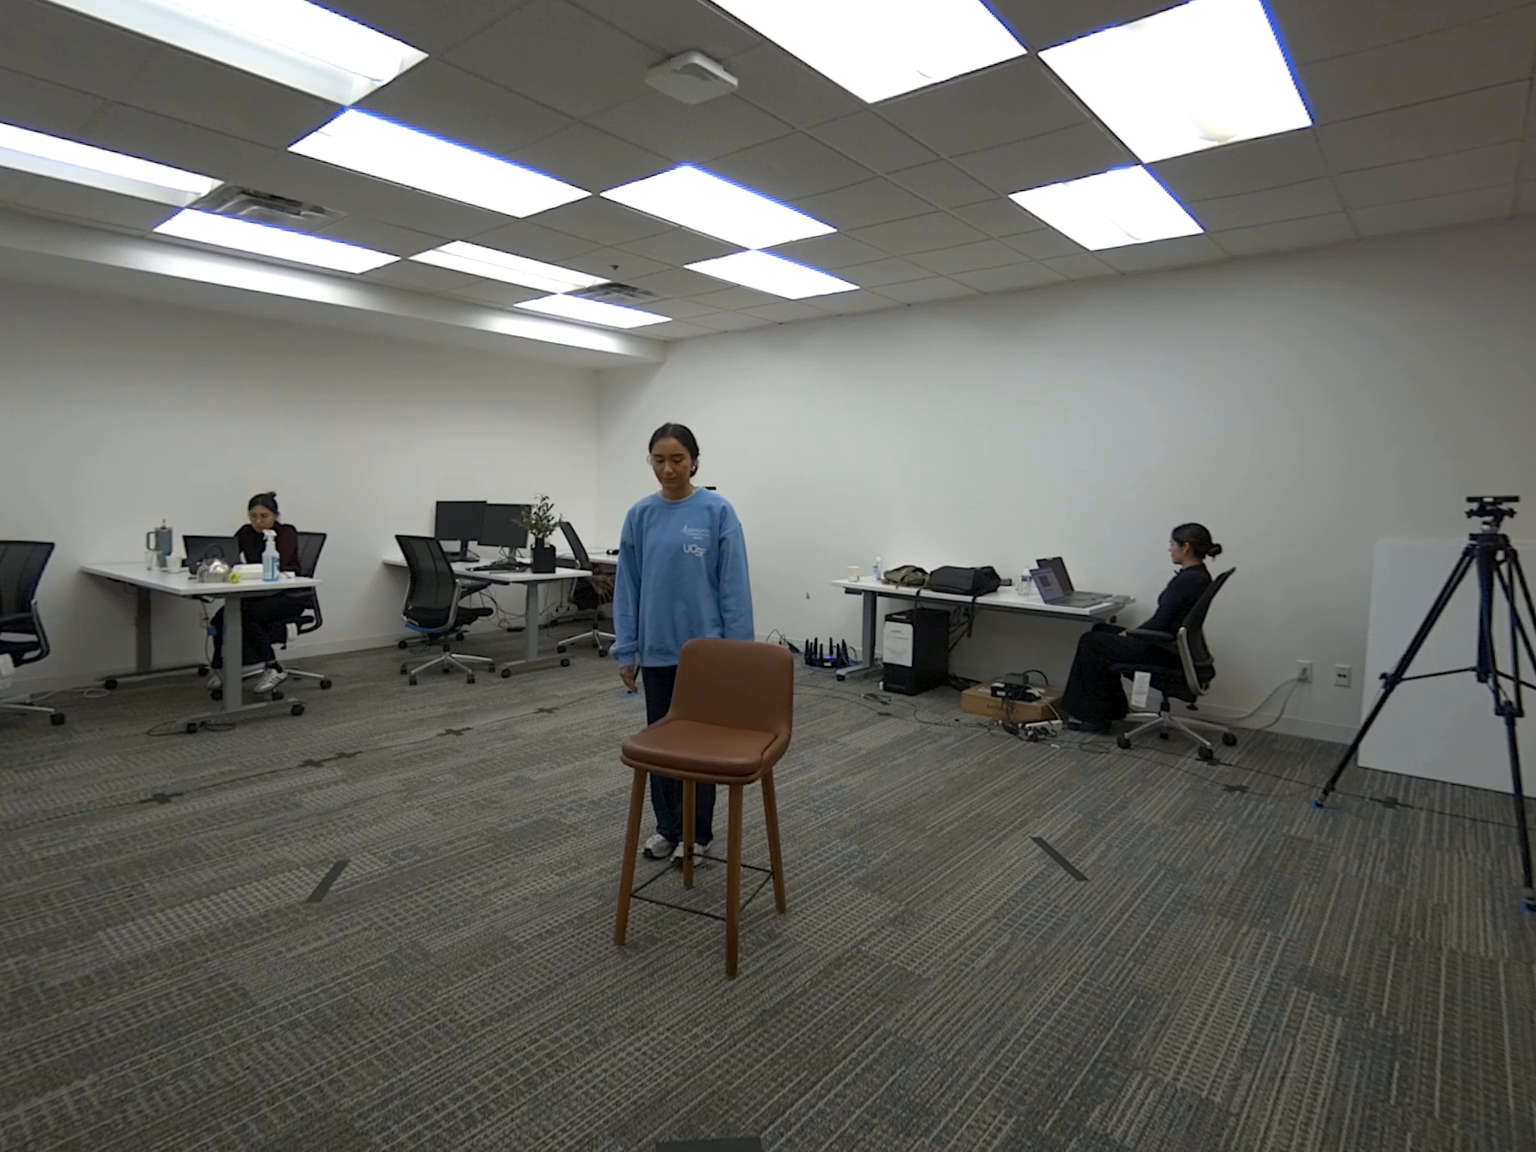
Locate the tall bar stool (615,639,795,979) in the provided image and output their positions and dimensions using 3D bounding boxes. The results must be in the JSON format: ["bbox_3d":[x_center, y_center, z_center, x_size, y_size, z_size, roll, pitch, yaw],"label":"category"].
[{"bbox_3d":[-0.186,0.670,2.673,0.468,0.889,0.456,3,1,25],"label":"tall bar stool"}]
